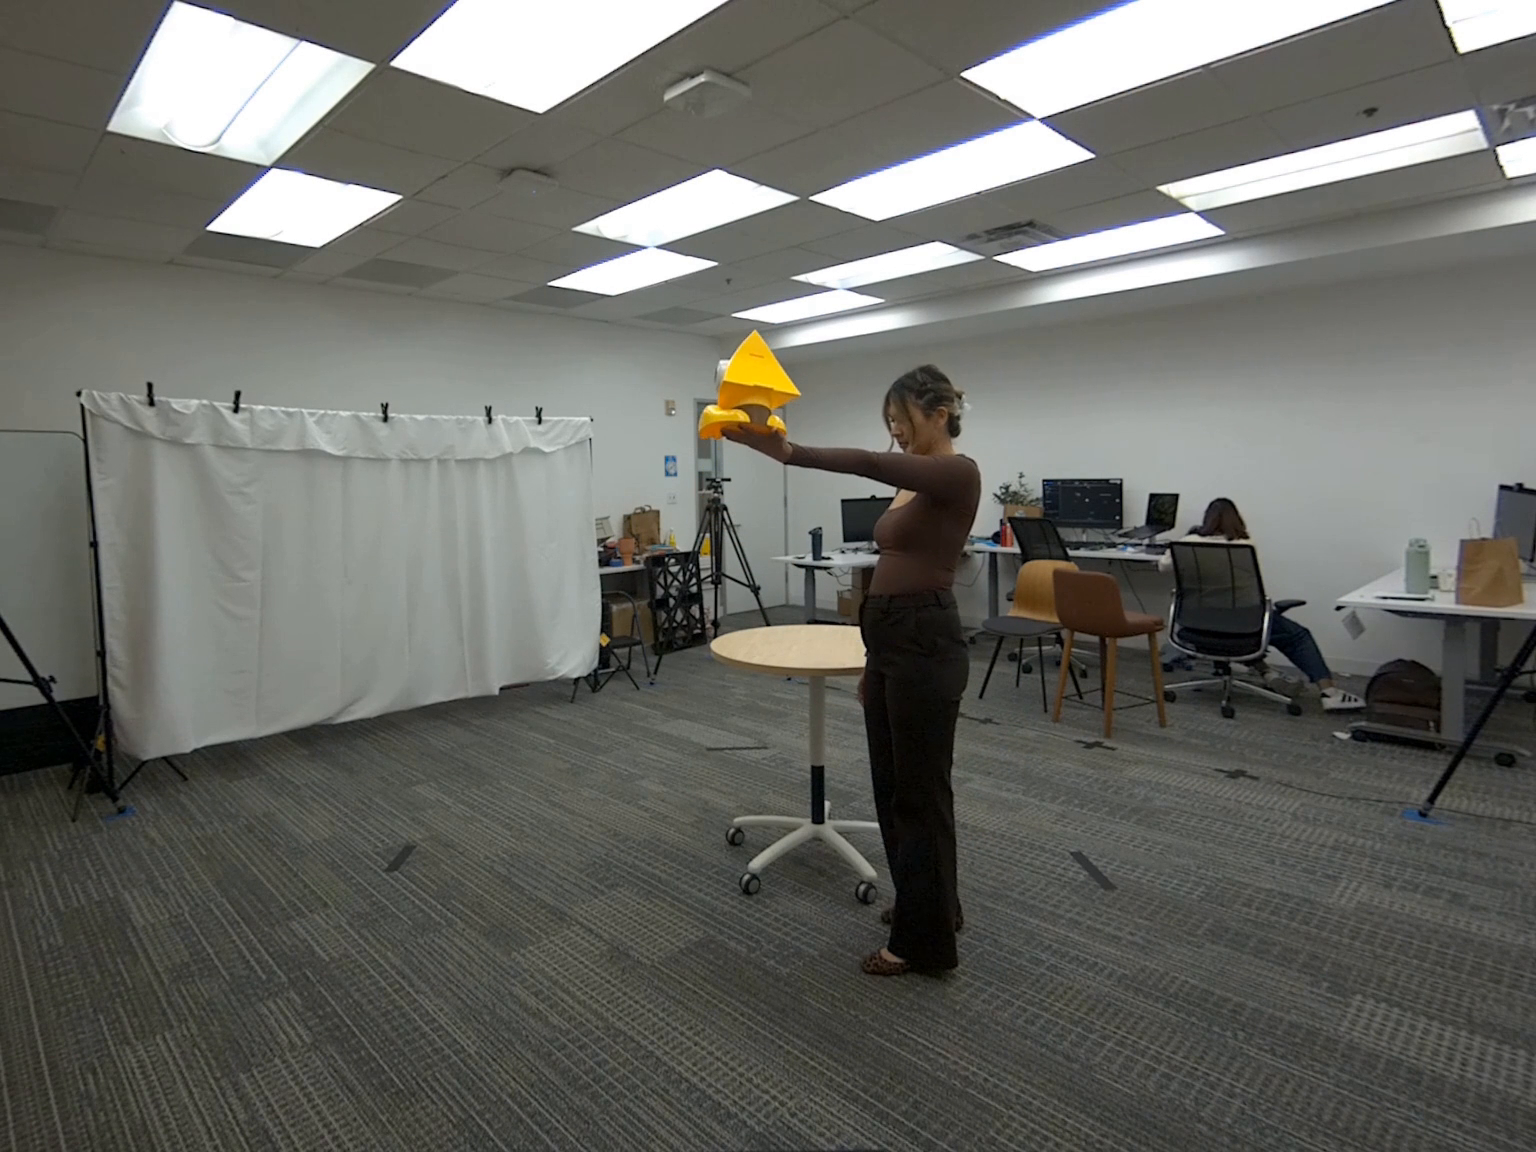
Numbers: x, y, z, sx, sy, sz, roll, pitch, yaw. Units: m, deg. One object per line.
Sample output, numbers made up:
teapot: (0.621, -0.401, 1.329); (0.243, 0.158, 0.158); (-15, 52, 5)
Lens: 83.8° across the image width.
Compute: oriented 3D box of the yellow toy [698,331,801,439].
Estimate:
yellow toy: (-0.059, -0.449, 2.009); (0.199, 0.233, 0.196); (5, -11, -30)
